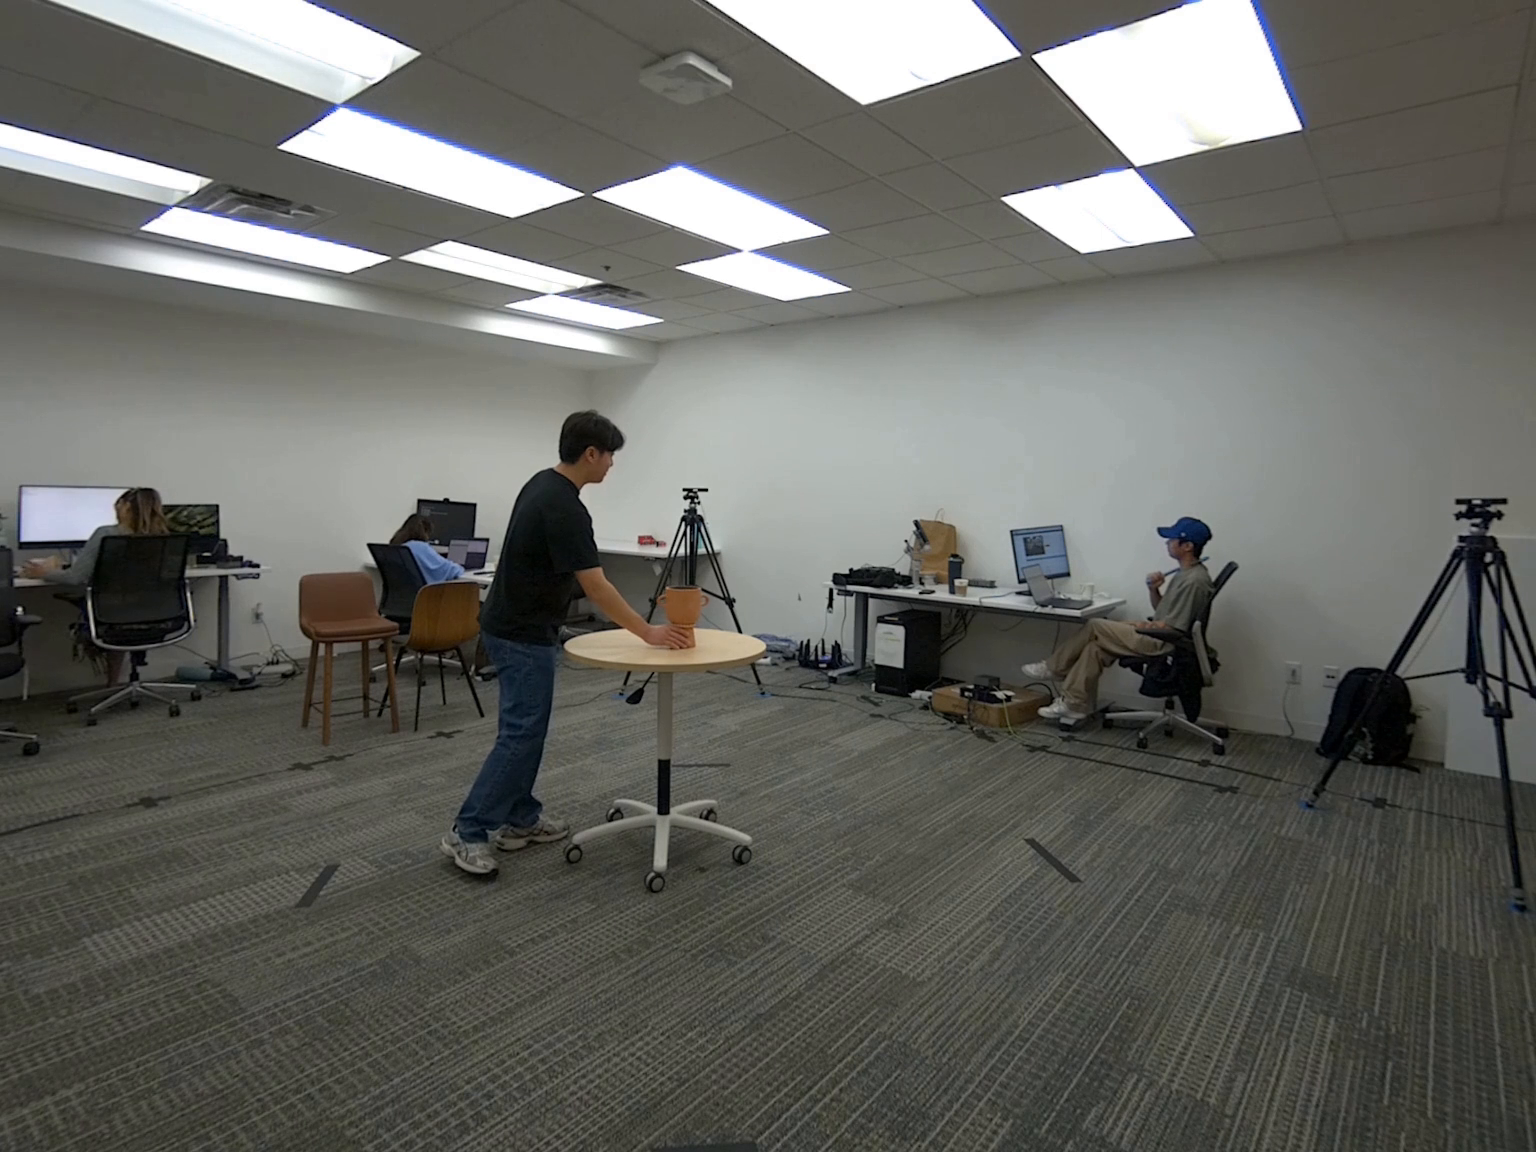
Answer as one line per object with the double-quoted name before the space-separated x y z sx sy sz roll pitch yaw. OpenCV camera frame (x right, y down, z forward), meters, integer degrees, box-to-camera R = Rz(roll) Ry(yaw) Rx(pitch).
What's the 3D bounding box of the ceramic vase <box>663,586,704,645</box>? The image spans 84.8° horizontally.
"ceramic vase" -0.333 0.155 3.195 0.163 0.219 0.132 3 6 23
